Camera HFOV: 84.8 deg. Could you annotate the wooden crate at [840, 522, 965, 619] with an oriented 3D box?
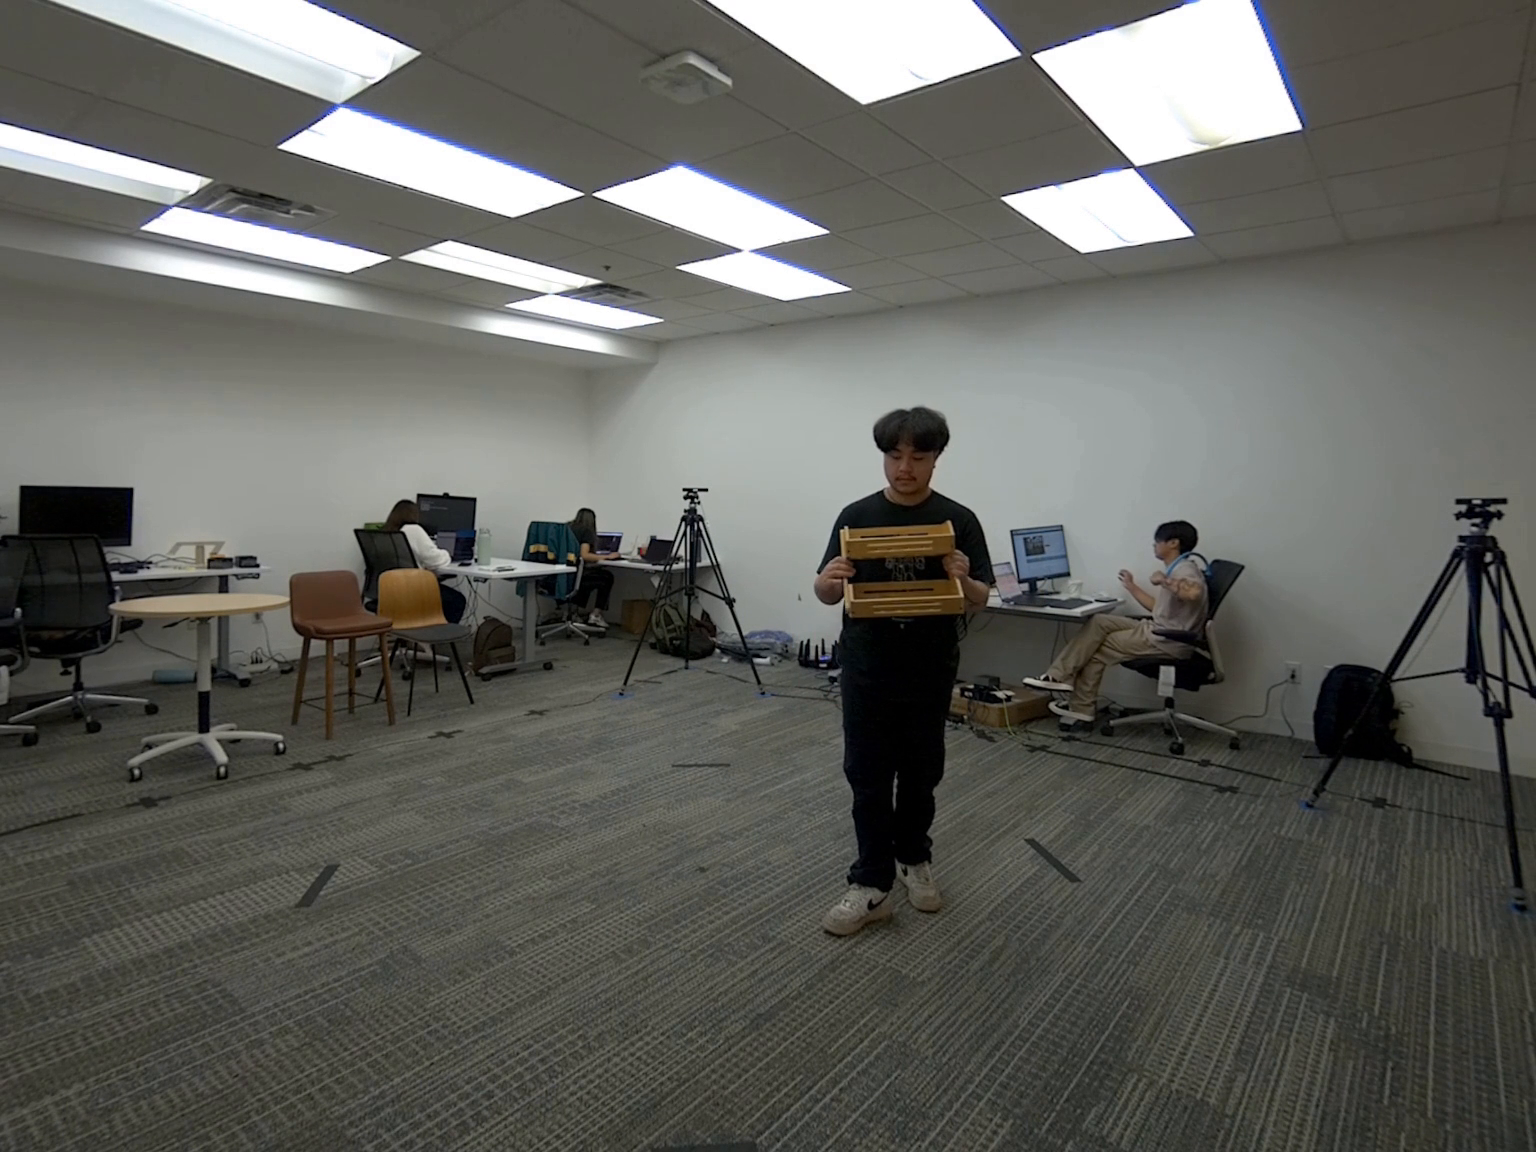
[{"bbox_3d":[0.383,-0.028,2.448,0.326,0.274,0.299,-2,-3,5],"label":"wooden crate"}]
